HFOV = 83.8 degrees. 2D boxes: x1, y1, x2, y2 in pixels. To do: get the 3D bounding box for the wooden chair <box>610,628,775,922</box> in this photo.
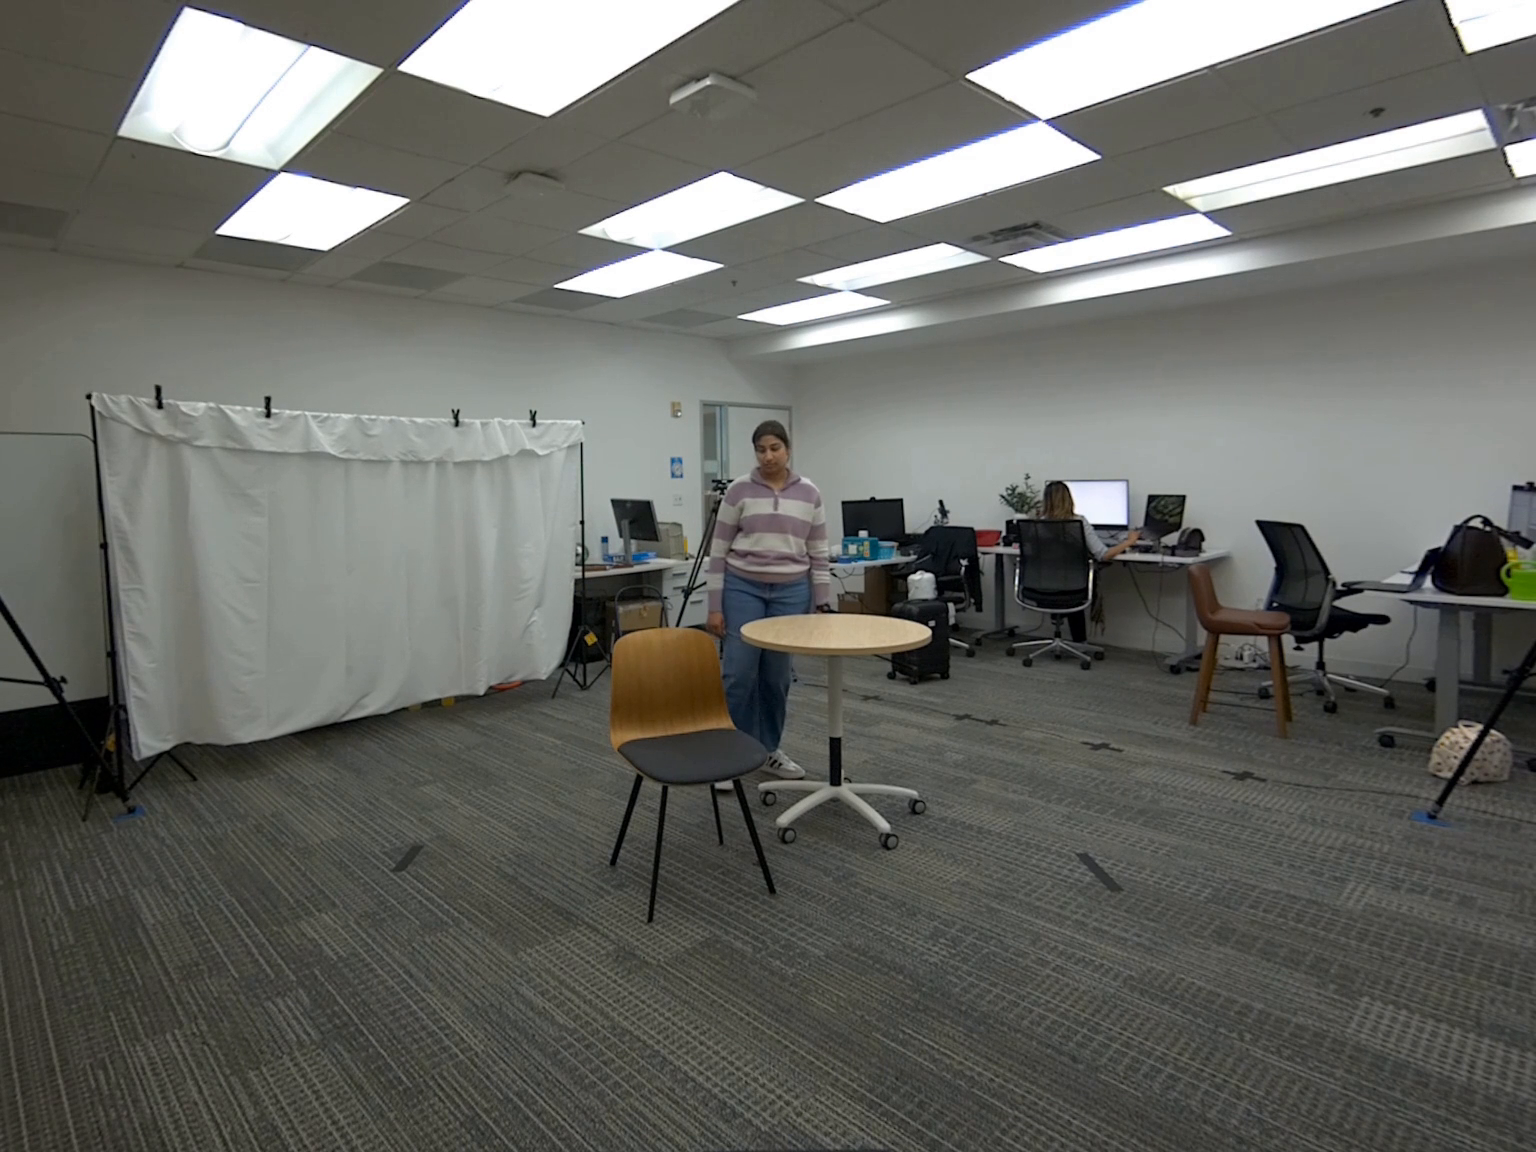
[{"bbox_3d":[-0.279,0.643,2.954,0.468,0.877,0.534,-2,0,-25],"label":"wooden chair"}]
